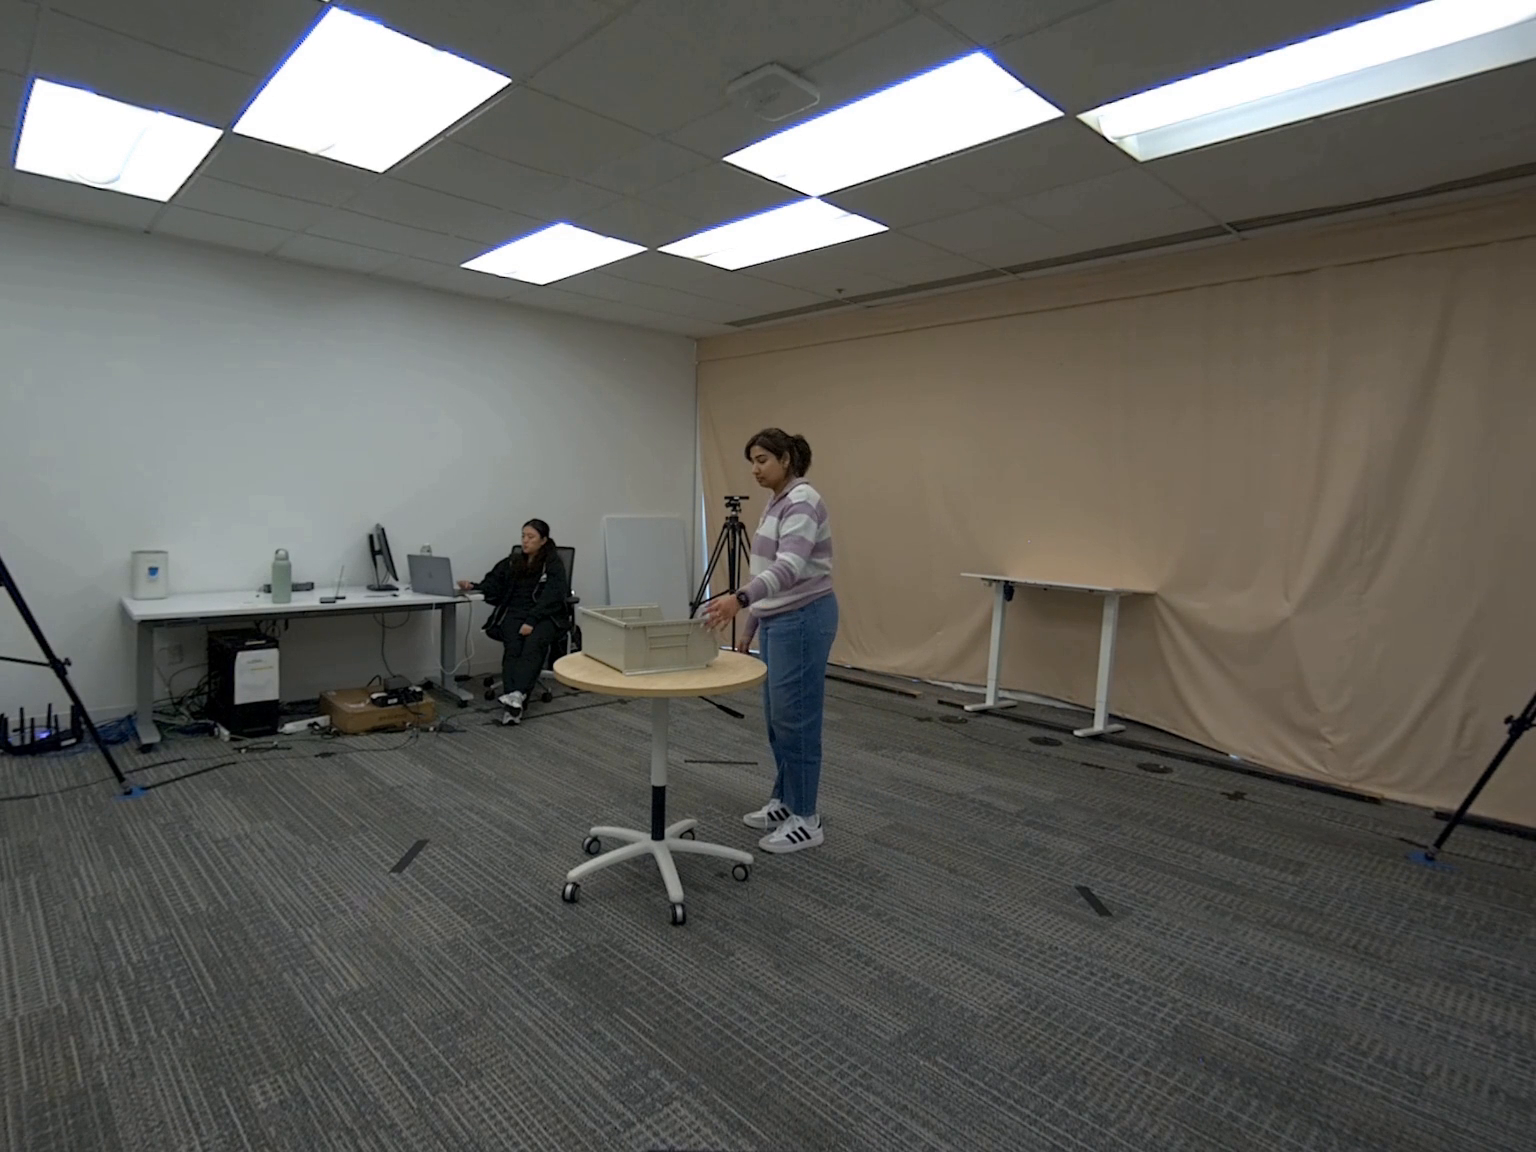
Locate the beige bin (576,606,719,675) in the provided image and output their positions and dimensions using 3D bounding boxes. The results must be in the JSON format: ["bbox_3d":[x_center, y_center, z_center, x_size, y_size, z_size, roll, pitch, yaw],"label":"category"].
[{"bbox_3d":[-0.454,0.225,3.093,0.370,0.188,0.432,-3,7,-32],"label":"beige bin"}]
